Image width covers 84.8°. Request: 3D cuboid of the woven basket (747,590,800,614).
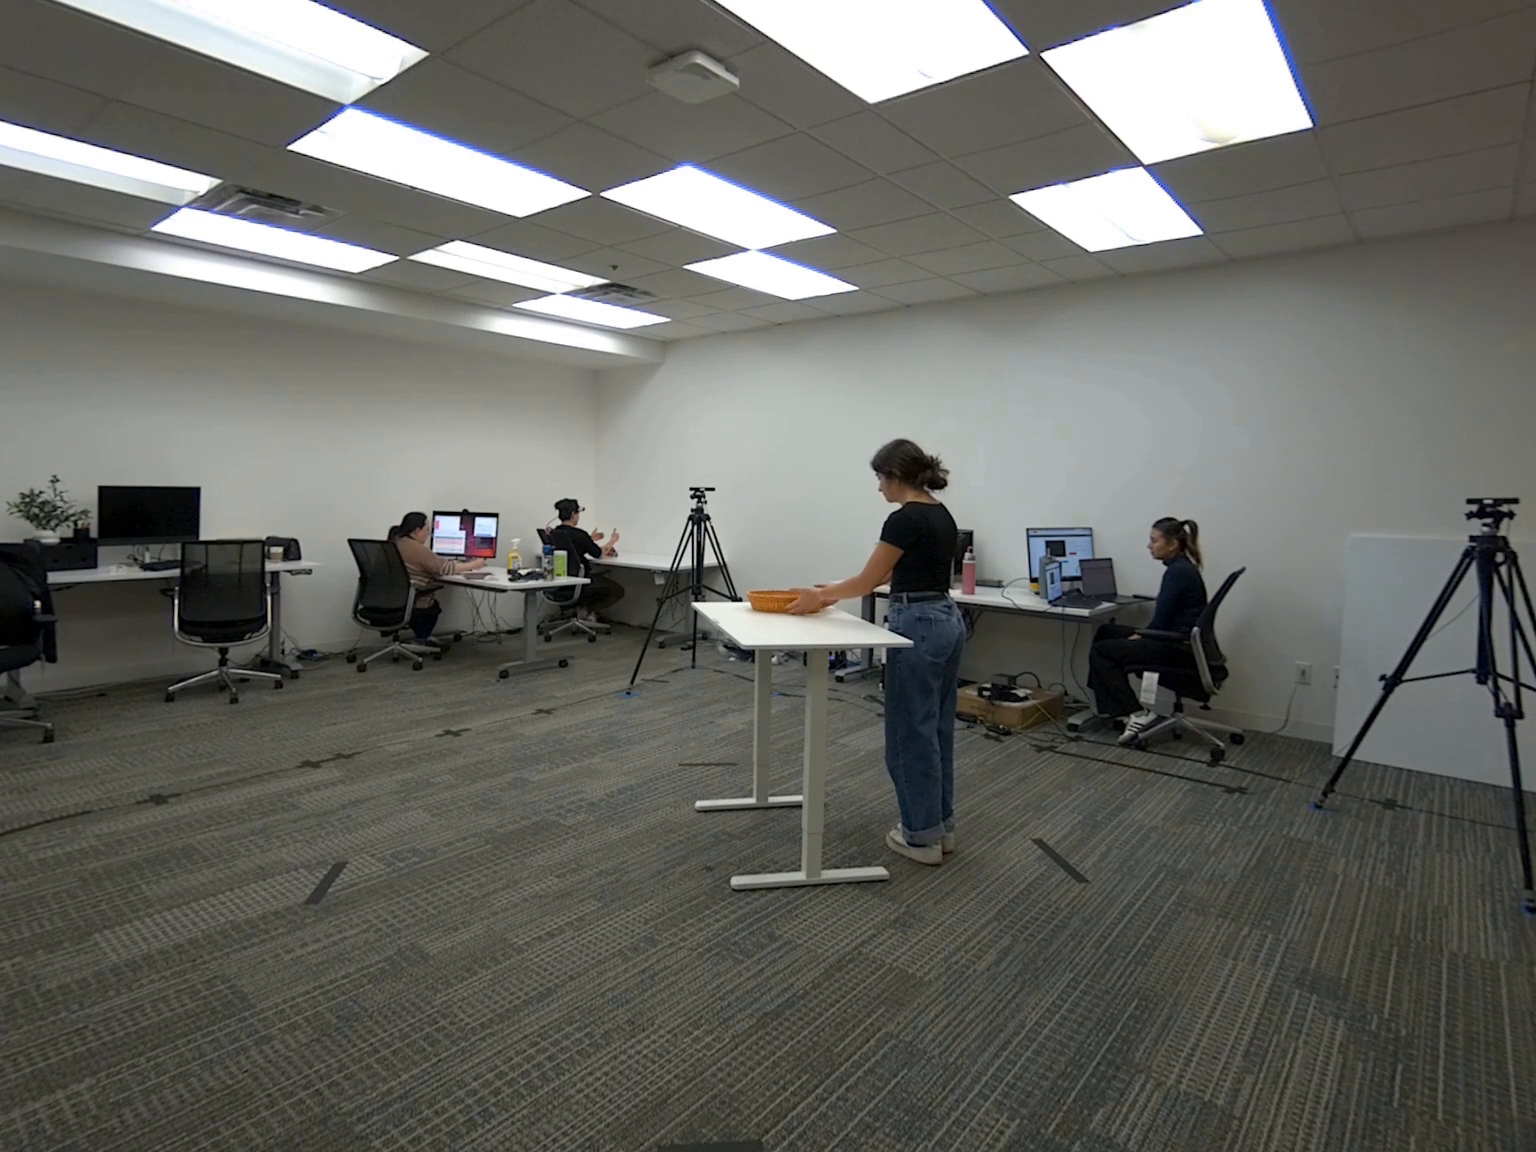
[{"bbox_3d":[0.076,0.113,3.587,0.351,0.073,0.253,1,4,1],"label":"woven basket"}]
